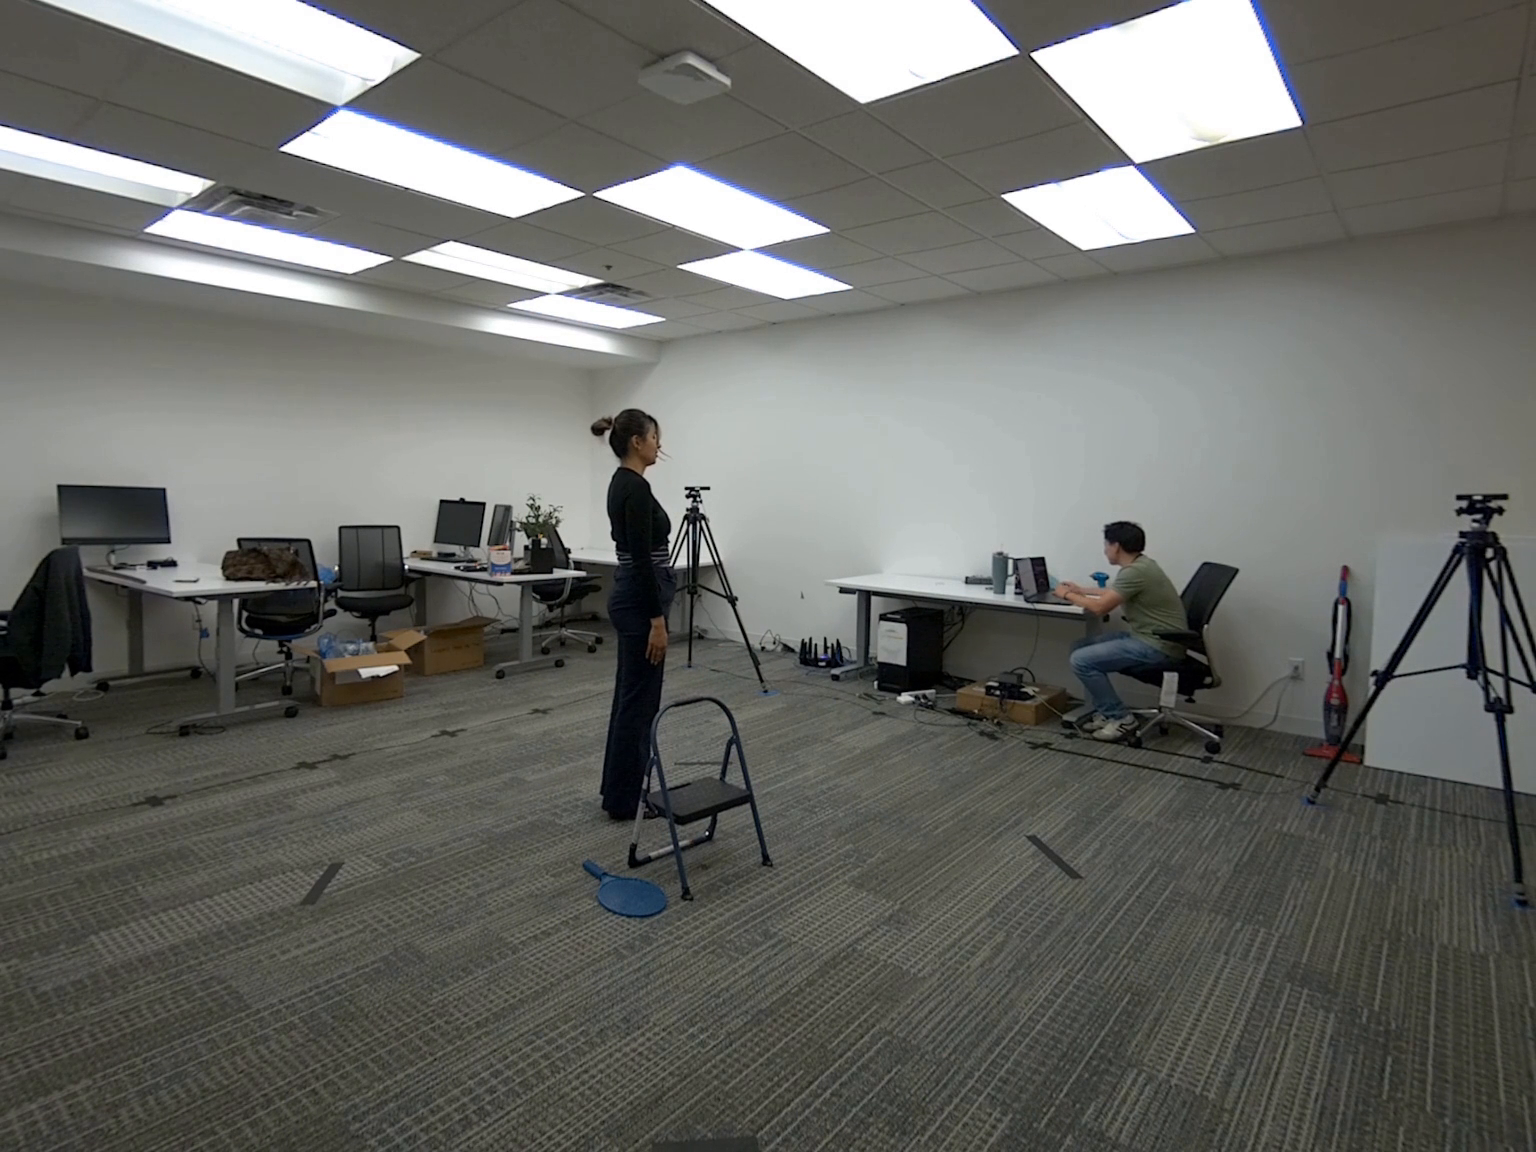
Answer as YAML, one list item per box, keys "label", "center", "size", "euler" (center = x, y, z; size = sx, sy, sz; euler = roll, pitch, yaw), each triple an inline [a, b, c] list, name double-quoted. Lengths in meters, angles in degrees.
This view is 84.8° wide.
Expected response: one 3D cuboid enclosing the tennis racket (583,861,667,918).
- label: "tennis racket"
  center: [-0.518, 1.064, 2.921]
  size: [0.207, 0.031, 0.448]
  euler: [-5, 8, -43]
